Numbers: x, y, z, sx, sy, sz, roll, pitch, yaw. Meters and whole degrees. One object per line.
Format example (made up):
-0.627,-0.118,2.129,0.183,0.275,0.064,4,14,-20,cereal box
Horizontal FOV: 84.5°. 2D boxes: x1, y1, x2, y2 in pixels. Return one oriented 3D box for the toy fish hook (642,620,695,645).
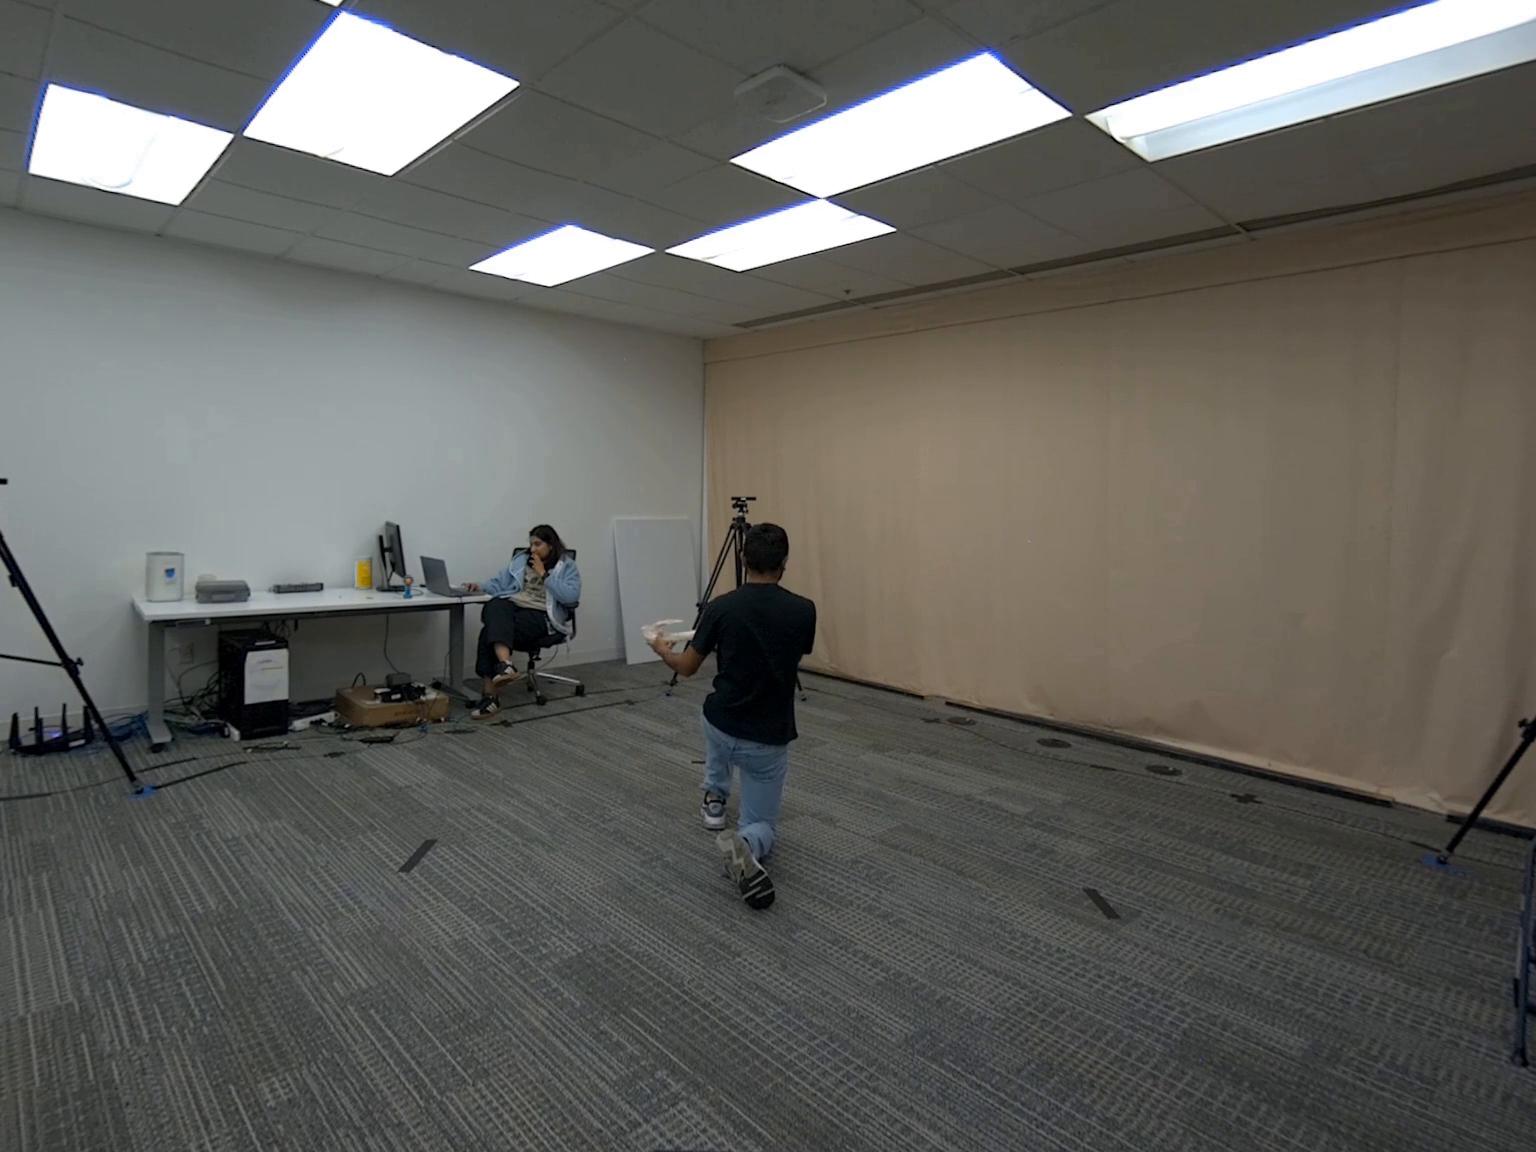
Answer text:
-0.305,0.236,3.780,0.500,0.047,0.230,-4,24,-16,toy fish hook
